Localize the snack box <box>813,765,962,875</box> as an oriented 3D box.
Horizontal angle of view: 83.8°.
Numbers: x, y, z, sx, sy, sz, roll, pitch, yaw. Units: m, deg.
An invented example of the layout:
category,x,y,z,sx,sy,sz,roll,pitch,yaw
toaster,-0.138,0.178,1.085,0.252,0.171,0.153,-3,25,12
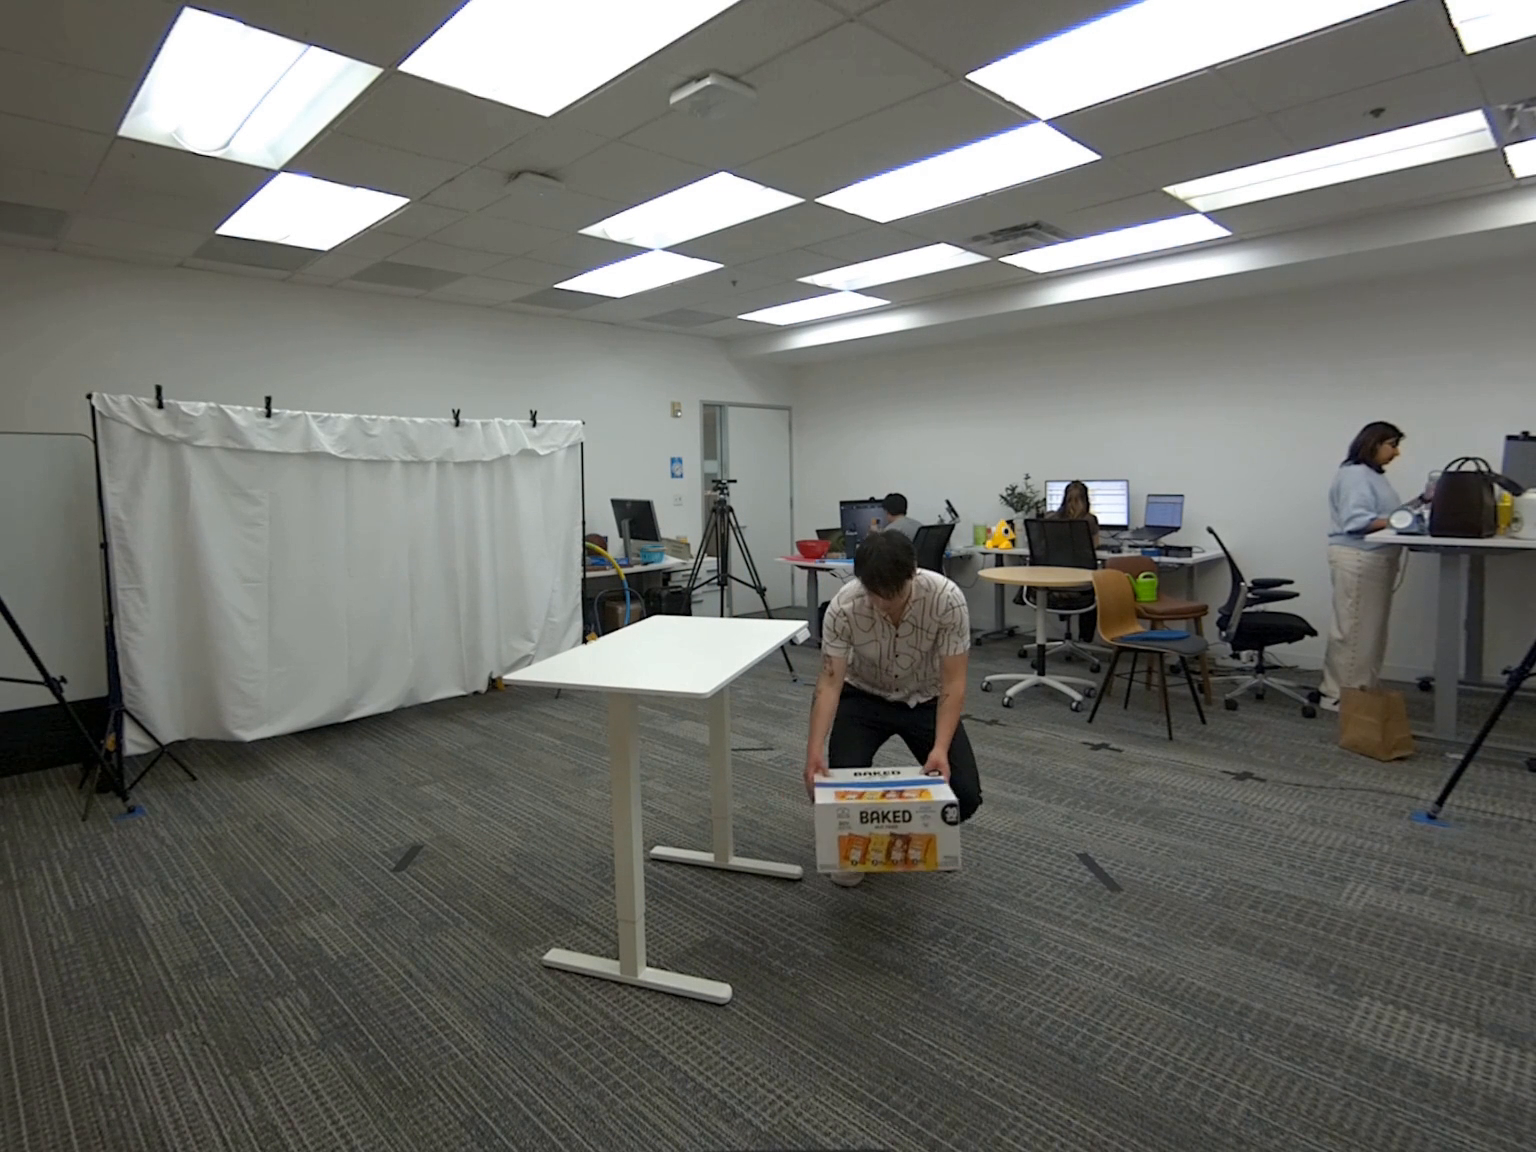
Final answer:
category,x,y,z,sx,sy,sz,roll,pitch,yaw
snack box,0.348,0.731,2.584,0.407,0.205,0.340,-3,3,3
